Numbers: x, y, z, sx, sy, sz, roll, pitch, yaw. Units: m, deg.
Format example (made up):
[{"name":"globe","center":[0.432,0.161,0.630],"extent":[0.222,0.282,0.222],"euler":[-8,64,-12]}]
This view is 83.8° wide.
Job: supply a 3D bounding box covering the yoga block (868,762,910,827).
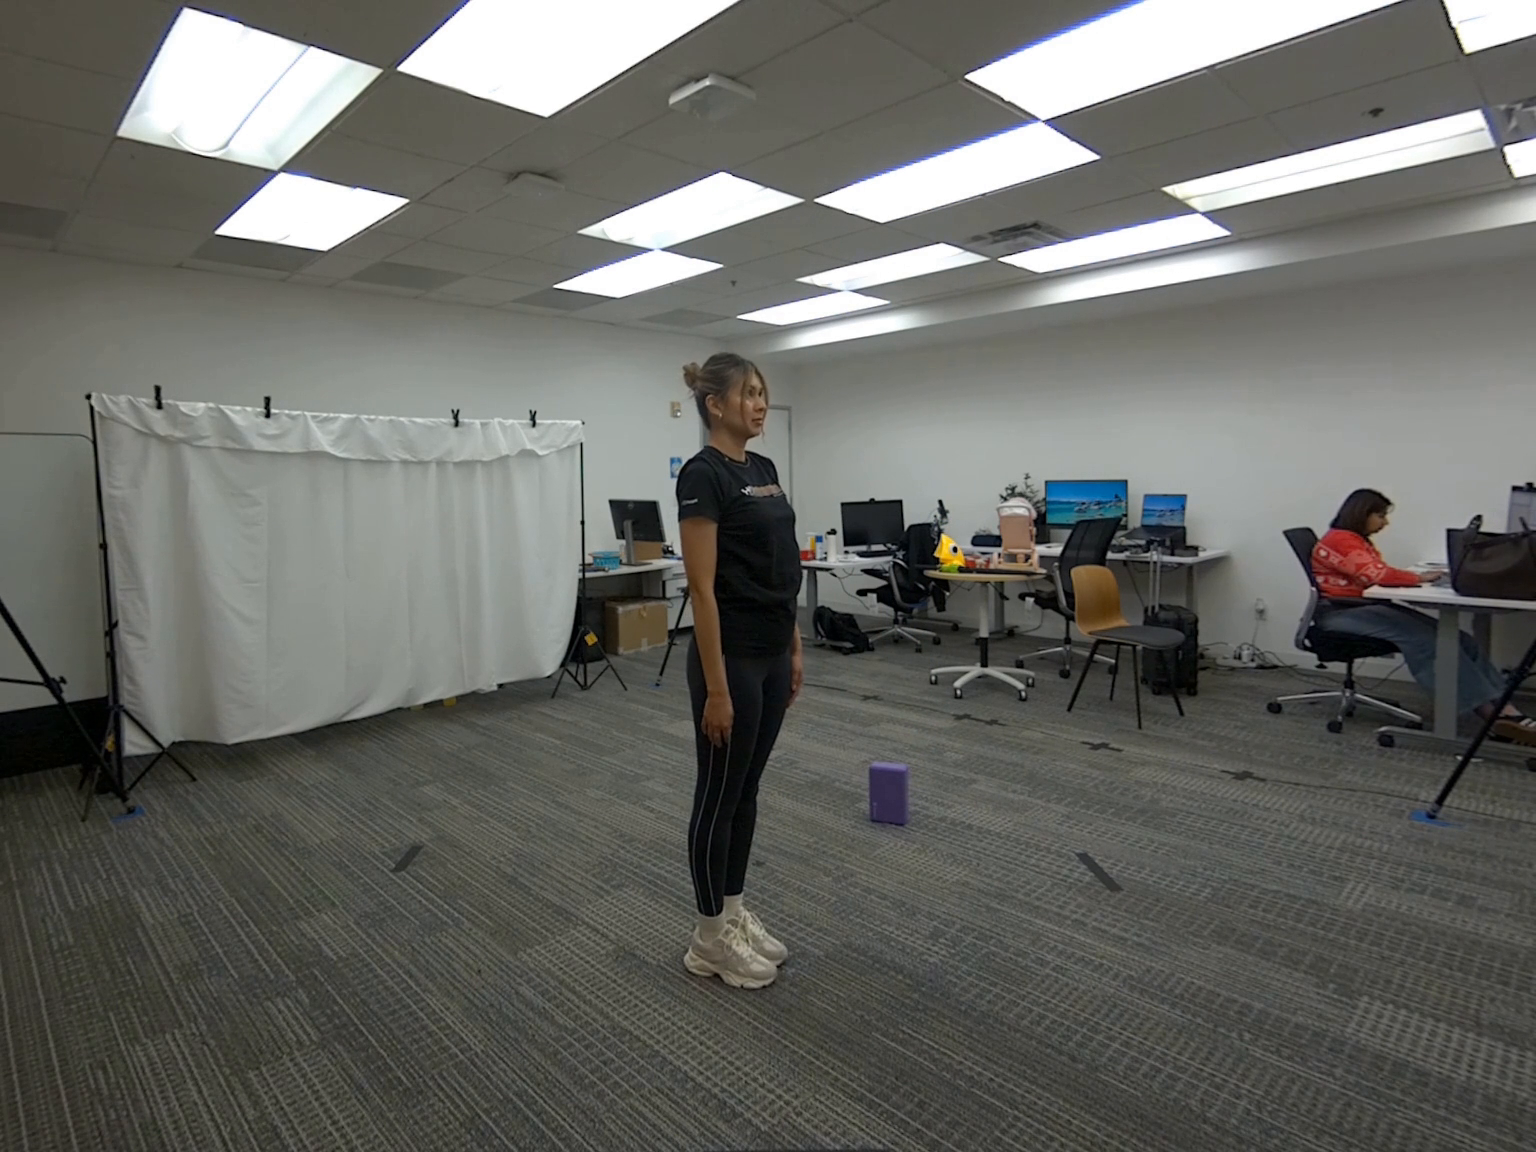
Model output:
[{"name":"yoga block","center":[0.499,0.883,3.474],"extent":[0.152,0.229,0.075],"euler":[1,3,22]}]
